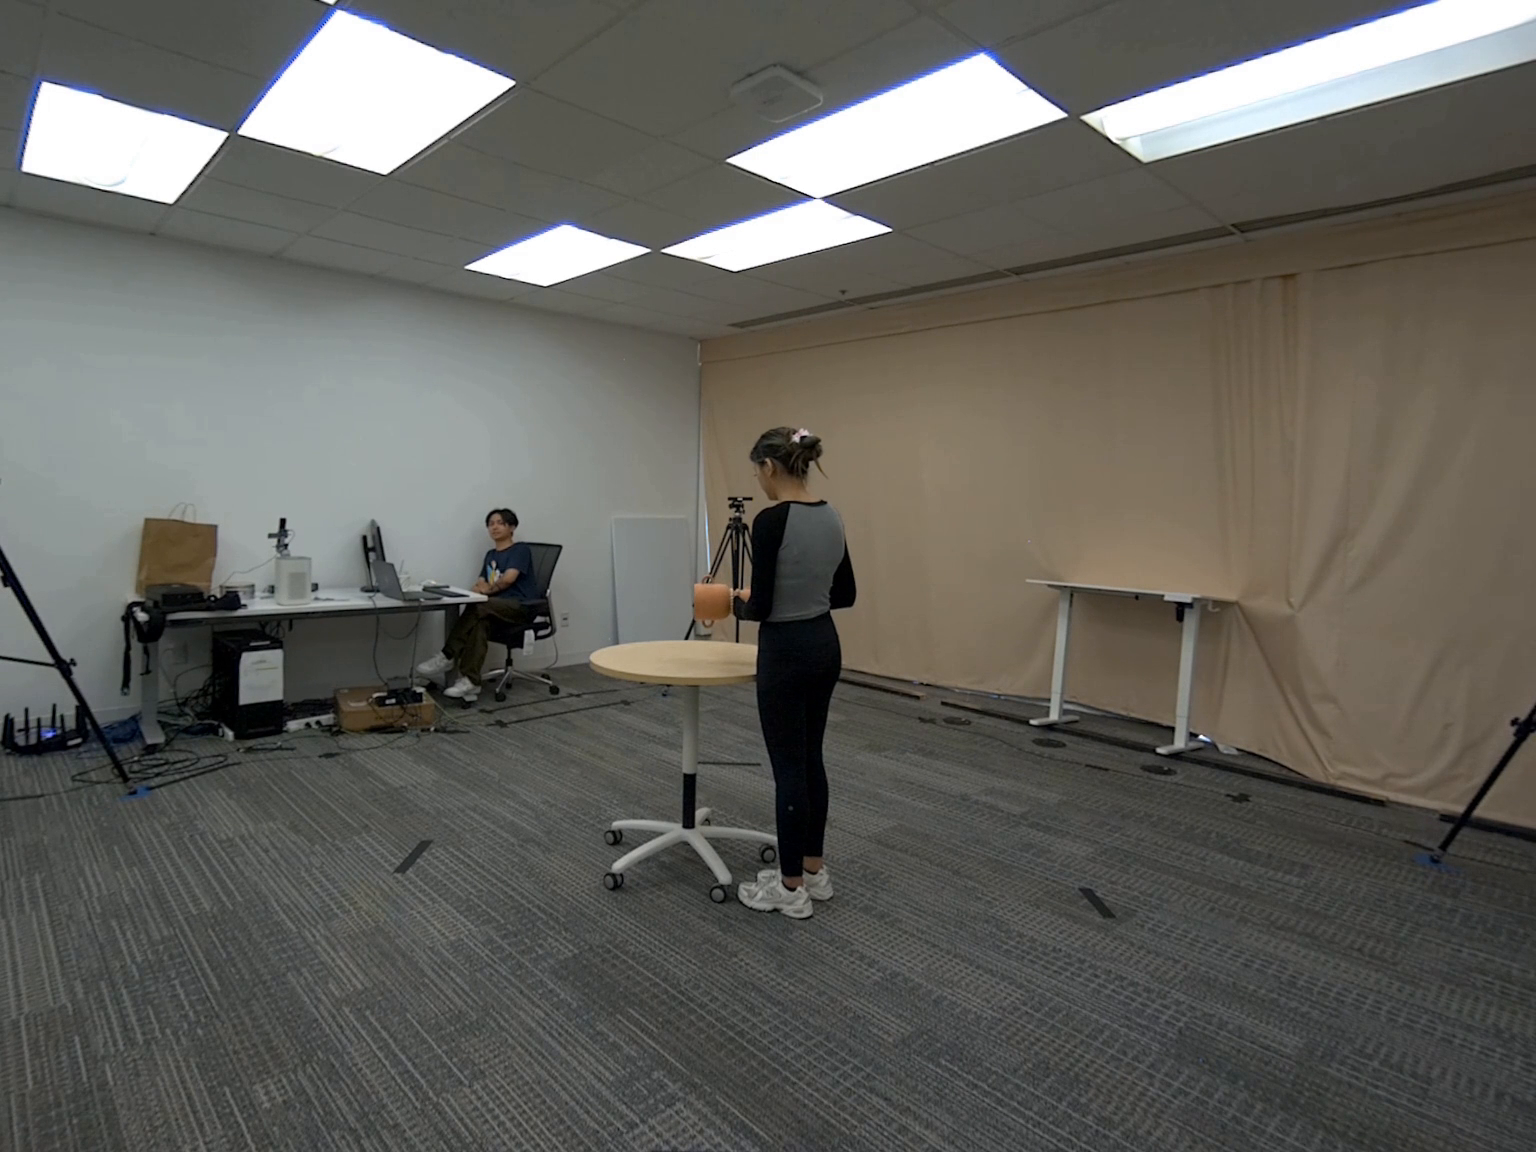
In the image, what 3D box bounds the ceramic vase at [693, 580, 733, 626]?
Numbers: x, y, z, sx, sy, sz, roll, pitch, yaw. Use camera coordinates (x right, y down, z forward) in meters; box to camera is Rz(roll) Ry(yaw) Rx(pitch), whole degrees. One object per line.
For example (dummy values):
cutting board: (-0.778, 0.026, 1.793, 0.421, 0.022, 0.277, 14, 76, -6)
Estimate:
ceramic vase: (-0.178, 0.090, 3.075, 0.220, 0.137, 0.155, 2, -40, 2)
